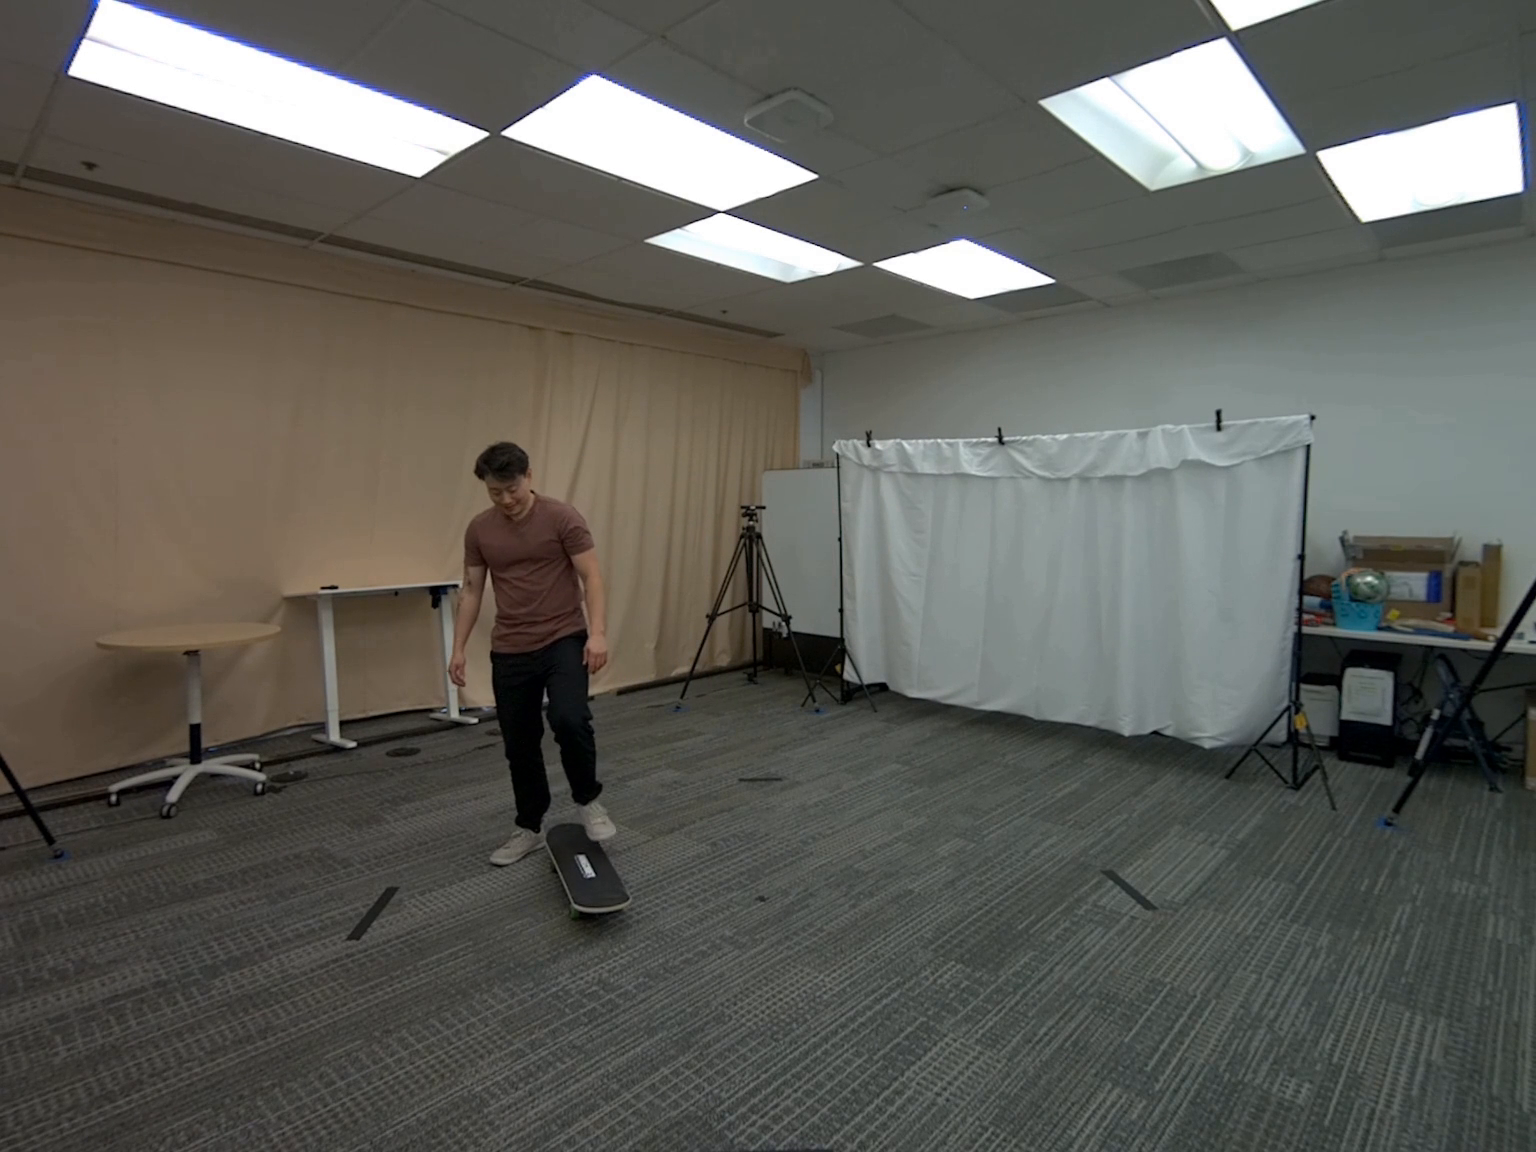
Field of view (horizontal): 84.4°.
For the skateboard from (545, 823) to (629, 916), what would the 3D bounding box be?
[{"bbox_3d":[-0.665,1.085,3.062,0.189,0.110,0.804,-2,5,-23],"label":"skateboard"}]
